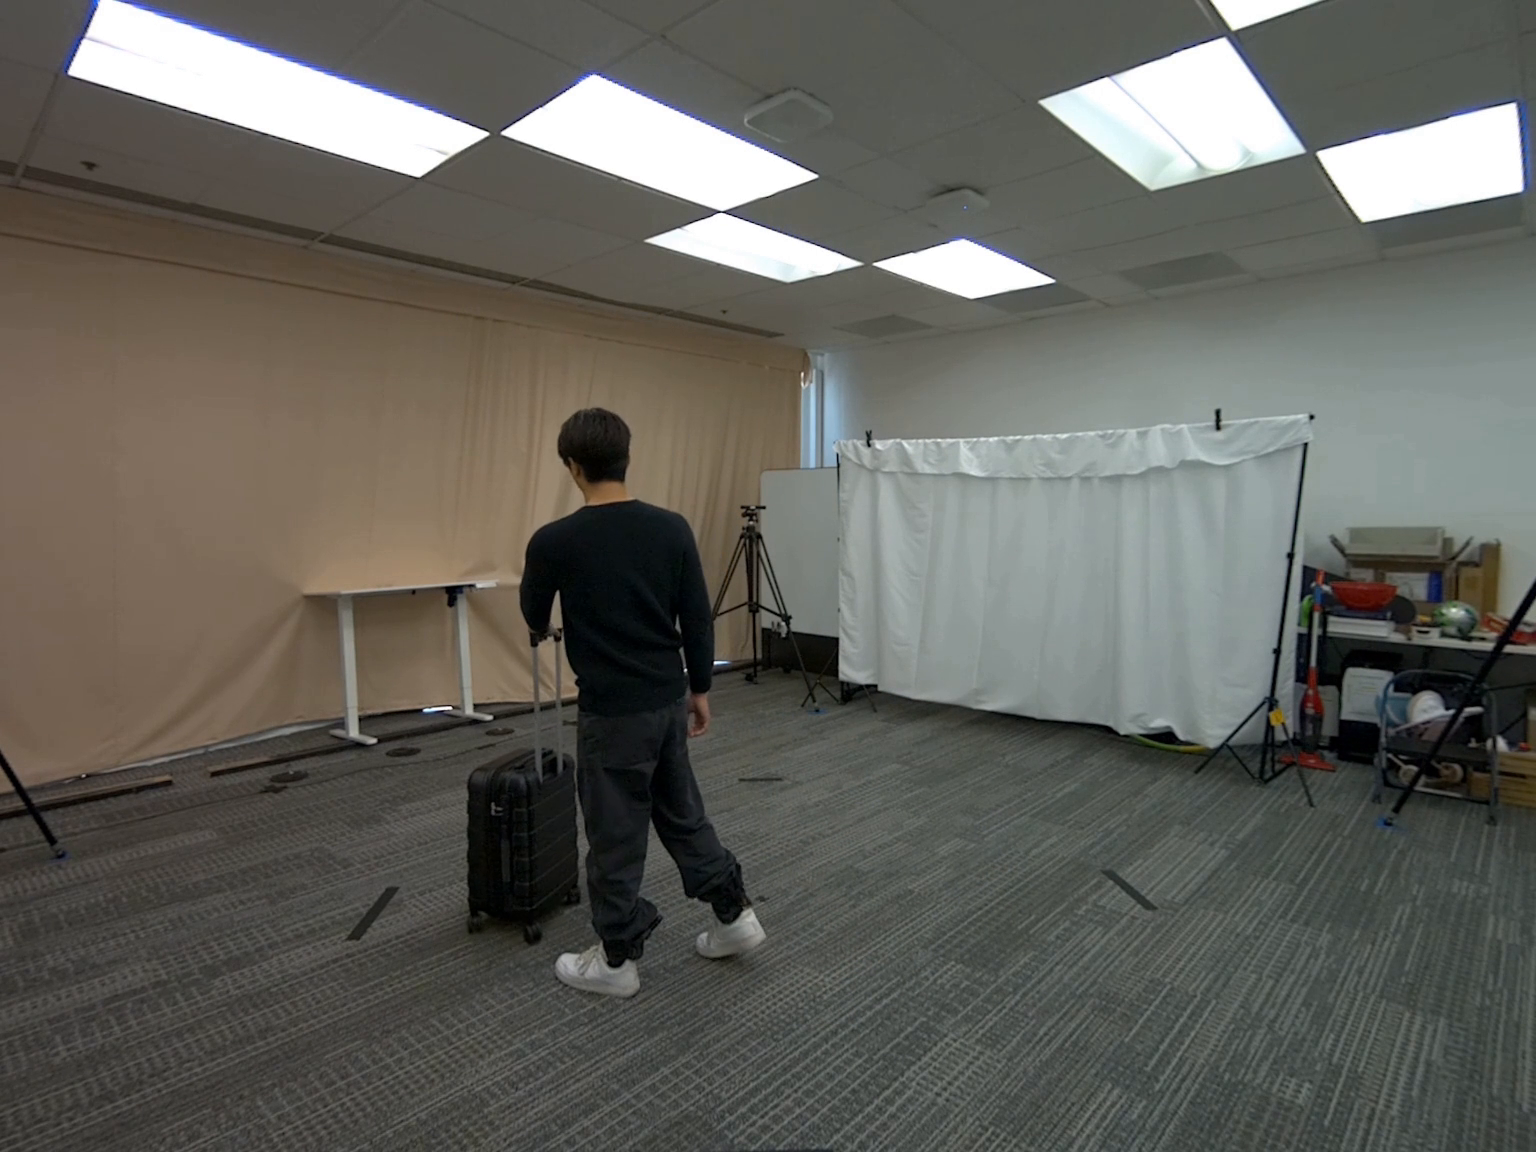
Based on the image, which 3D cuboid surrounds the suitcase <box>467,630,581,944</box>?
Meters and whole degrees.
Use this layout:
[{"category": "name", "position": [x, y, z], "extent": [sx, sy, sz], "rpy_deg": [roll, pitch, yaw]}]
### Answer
[{"category": "suitcase", "position": [-0.838, 0.681, 2.877], "extent": [0.262, 0.978, 0.376], "rpy_deg": [-2, 0, 19]}]
